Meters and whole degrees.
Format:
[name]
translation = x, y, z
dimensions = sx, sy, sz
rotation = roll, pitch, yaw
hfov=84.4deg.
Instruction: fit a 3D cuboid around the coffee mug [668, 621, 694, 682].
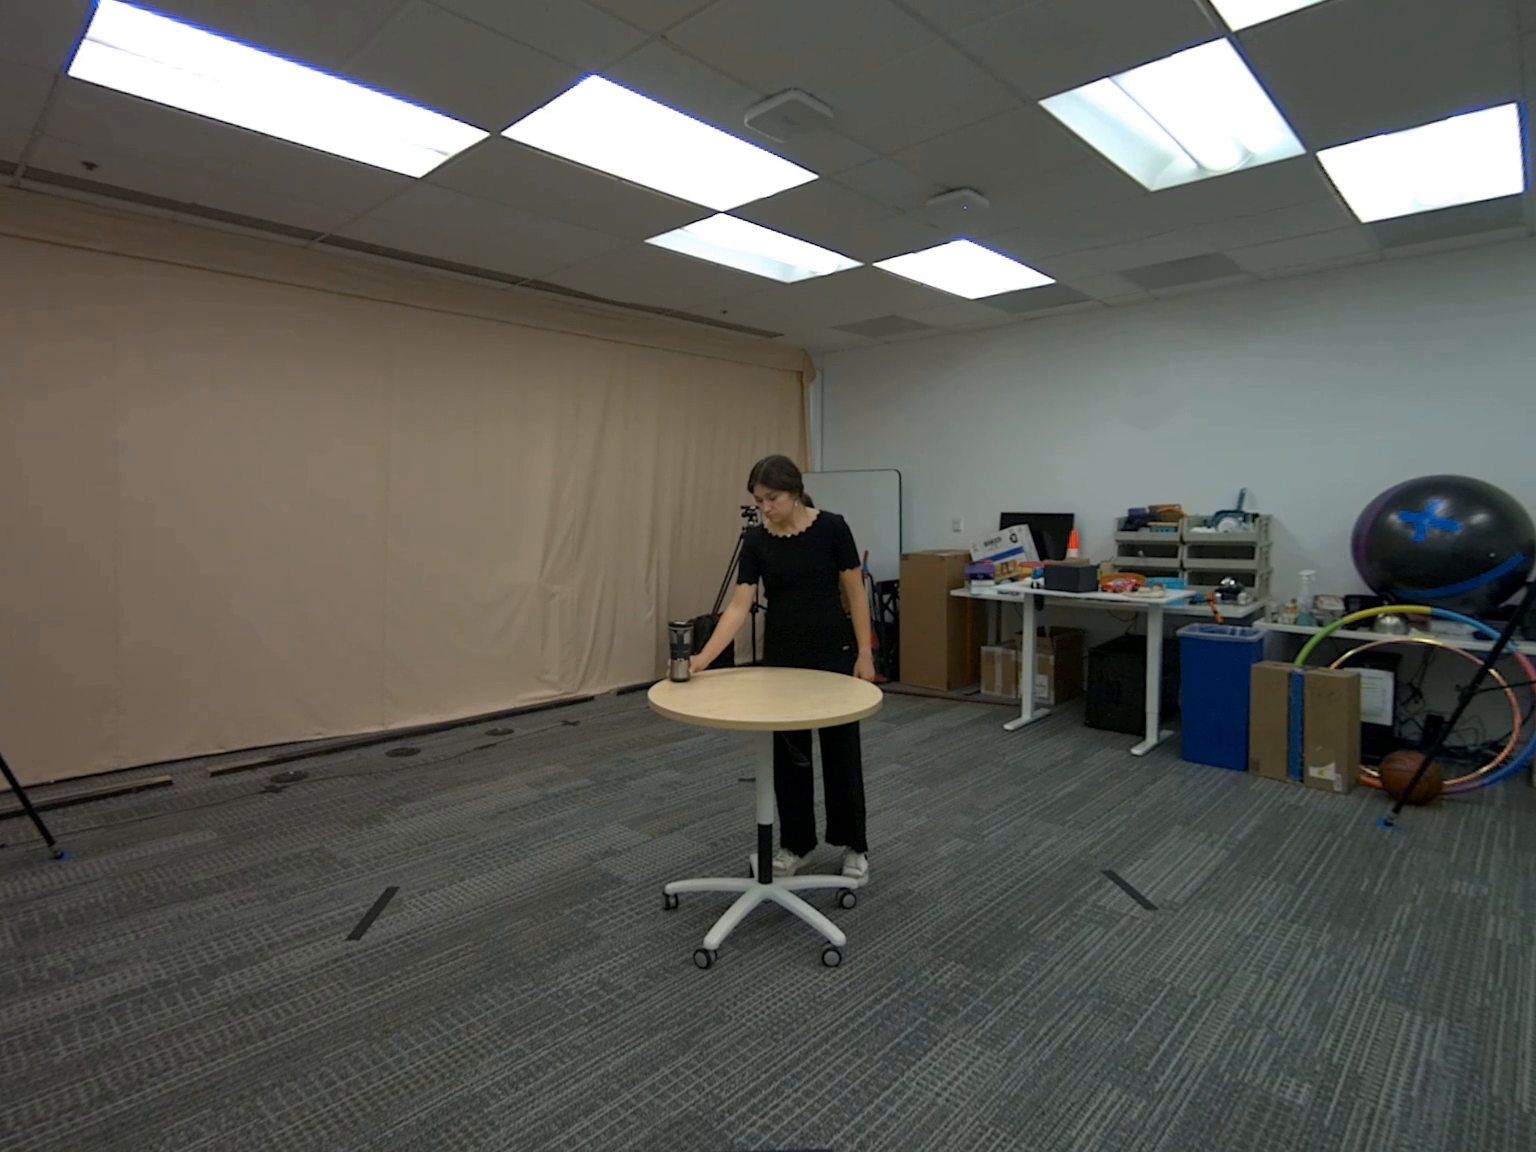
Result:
[coffee mug]
translation = -0.319, 0.262, 2.905
dimensions = 0.090, 0.203, 0.119
rotation = 5, 2, 27
